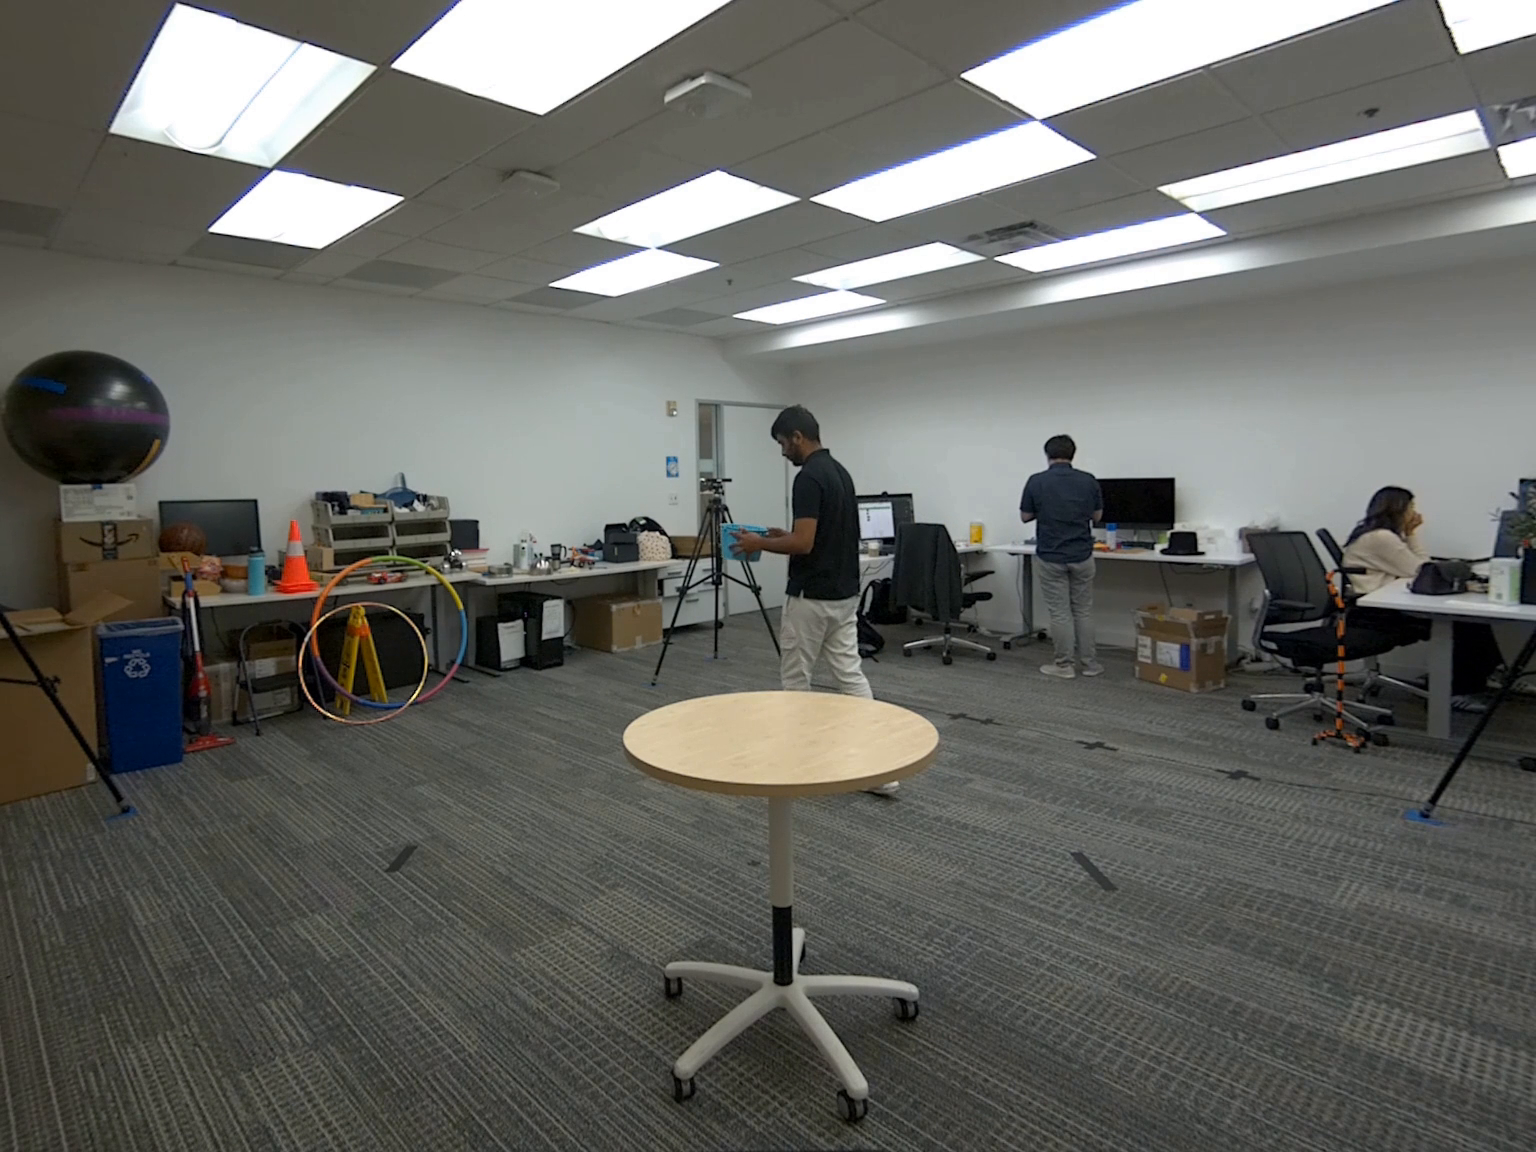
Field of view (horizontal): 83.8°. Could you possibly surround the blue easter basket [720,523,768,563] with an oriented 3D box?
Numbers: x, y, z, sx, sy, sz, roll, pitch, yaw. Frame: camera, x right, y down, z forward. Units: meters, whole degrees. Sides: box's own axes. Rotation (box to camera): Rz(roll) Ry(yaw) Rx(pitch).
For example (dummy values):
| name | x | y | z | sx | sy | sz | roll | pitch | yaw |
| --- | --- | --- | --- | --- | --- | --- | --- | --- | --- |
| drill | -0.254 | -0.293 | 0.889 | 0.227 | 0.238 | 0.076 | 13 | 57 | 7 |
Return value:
| name | x | y | z | sx | sy | sz | roll | pitch | yaw |
| --- | --- | --- | --- | --- | --- | --- | --- | --- | --- |
| blue easter basket | -0.091 | -0.157 | 4.062 | 0.243 | 0.155 | 0.245 | 4 | 8 | -2 |
